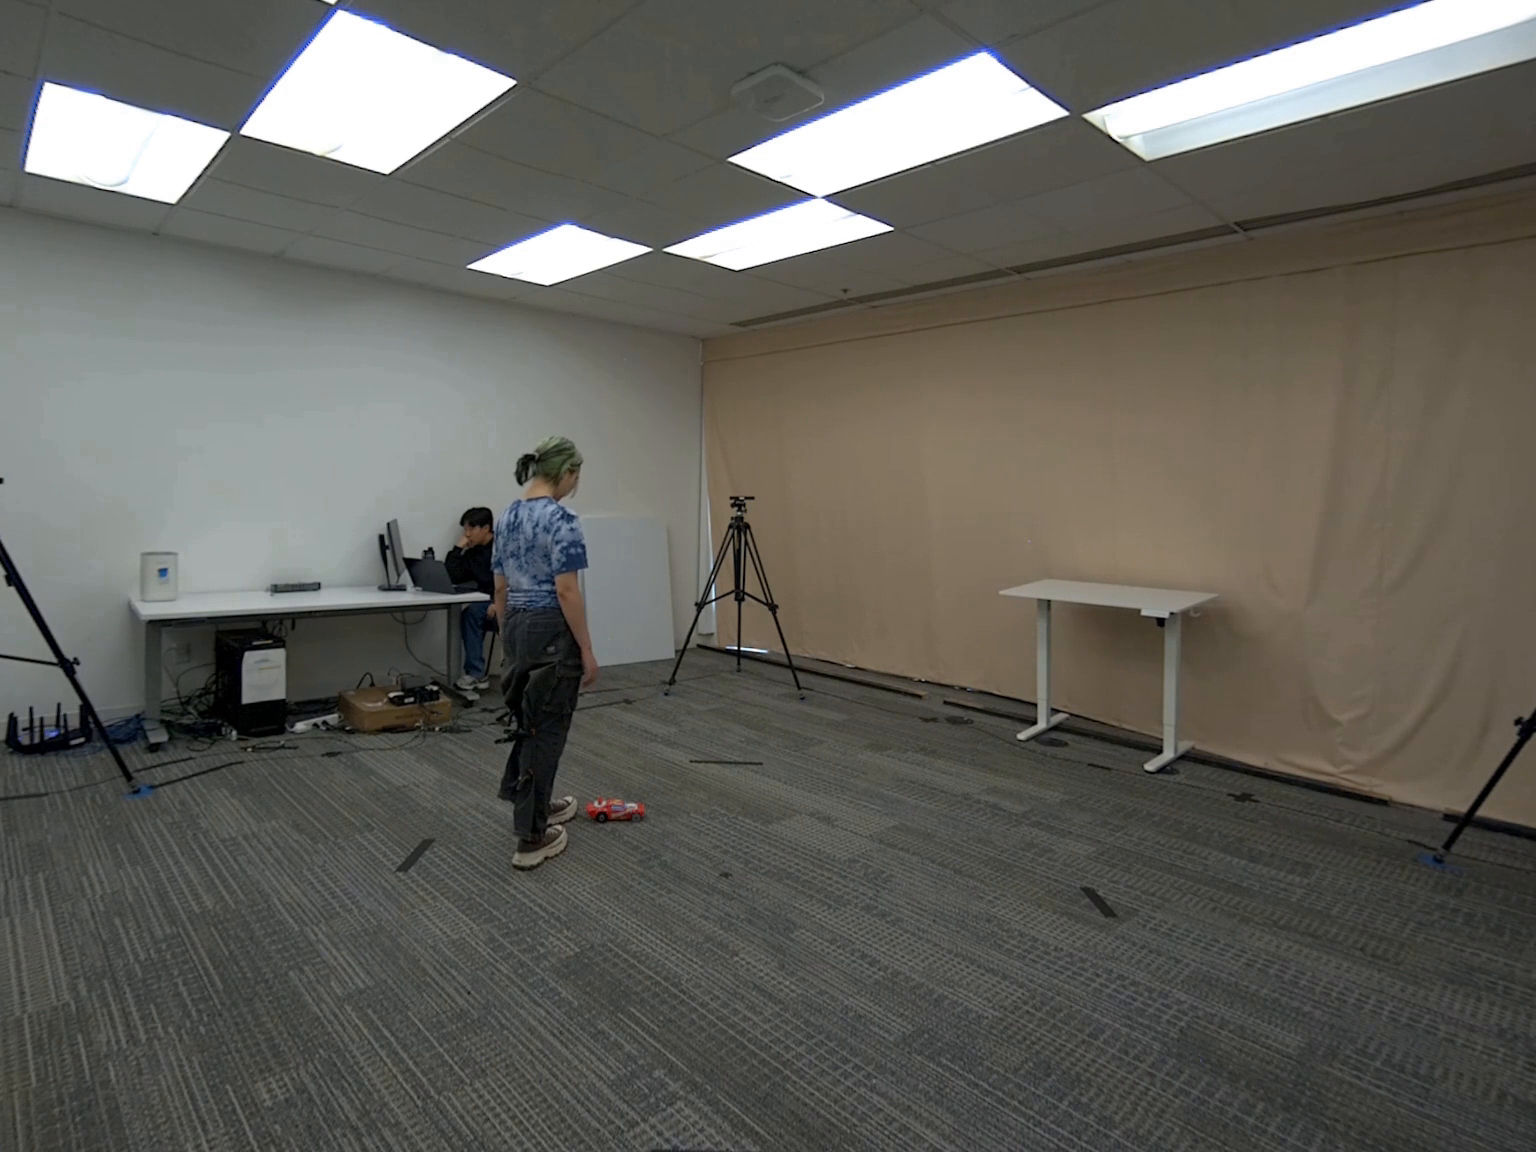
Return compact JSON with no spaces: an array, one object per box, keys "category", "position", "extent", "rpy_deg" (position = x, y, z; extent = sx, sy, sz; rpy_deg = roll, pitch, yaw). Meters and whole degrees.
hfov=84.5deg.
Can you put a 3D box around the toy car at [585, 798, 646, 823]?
[{"category":"toy car","position":[-0.674,1.014,3.631],"extent":[0.253,0.083,0.131],"rpy_deg":[12,3,-7]}]
